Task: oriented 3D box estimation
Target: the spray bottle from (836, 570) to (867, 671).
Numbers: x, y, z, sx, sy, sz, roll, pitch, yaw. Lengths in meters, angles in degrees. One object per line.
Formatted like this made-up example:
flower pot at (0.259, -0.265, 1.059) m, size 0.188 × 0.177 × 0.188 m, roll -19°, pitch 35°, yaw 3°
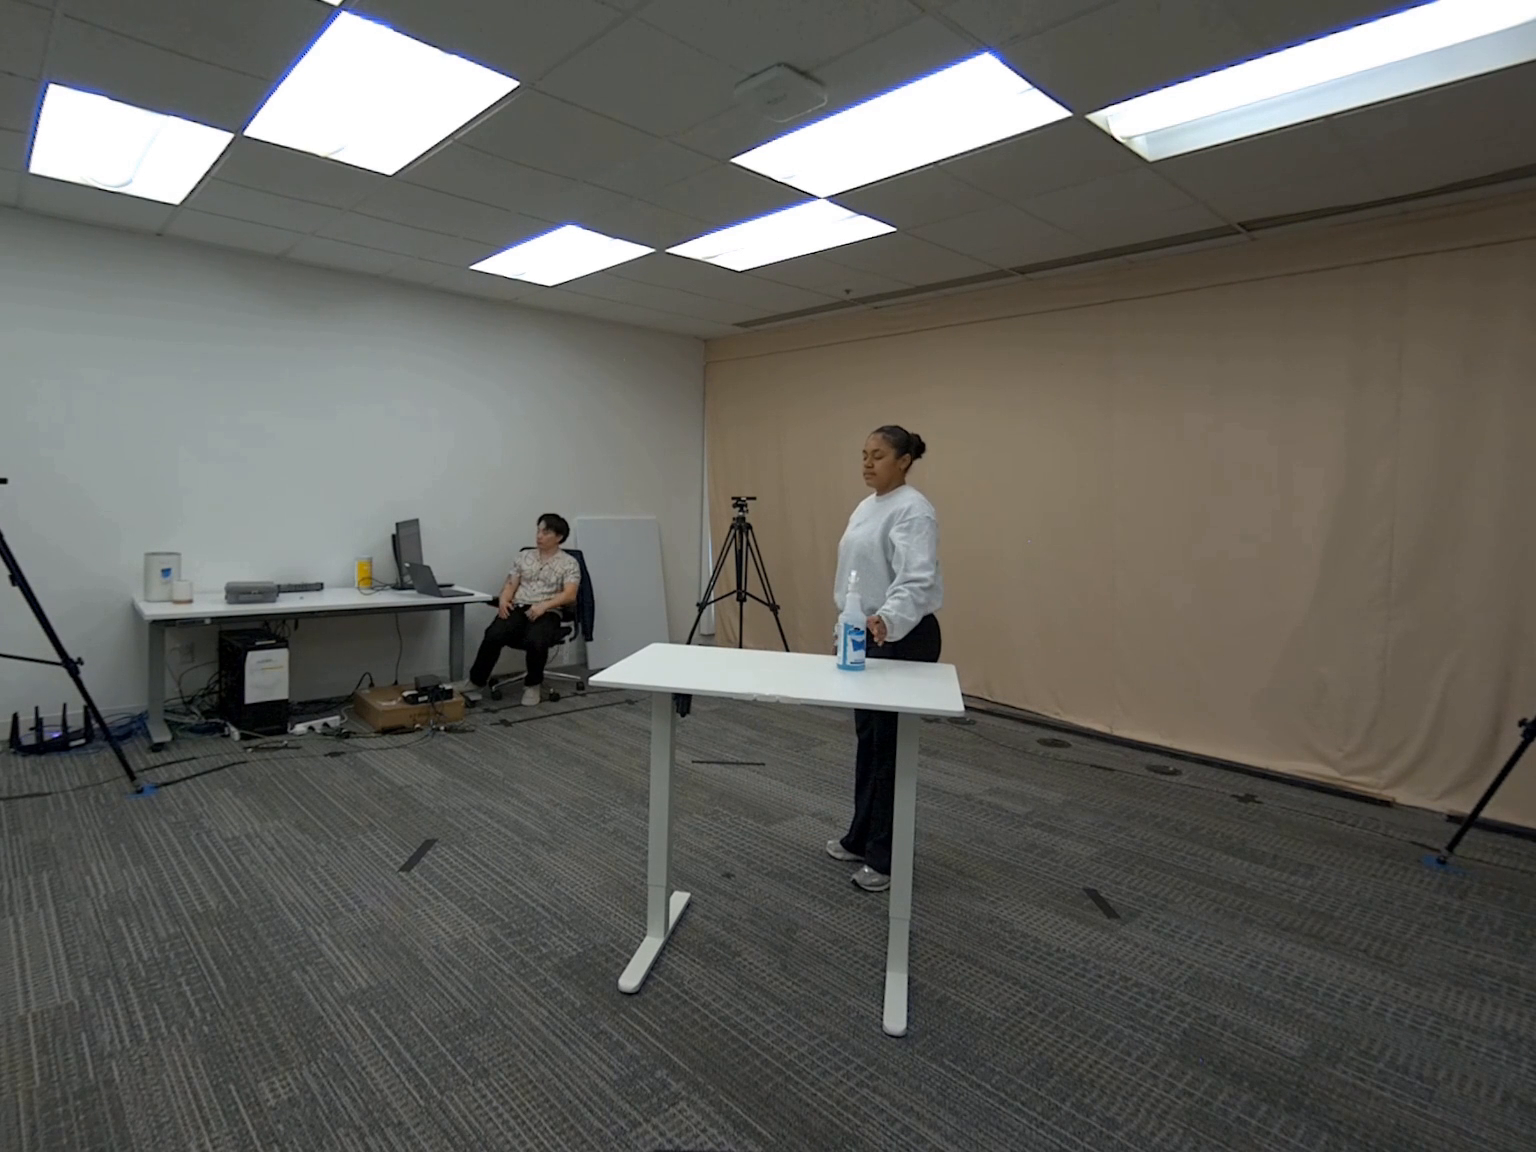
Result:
spray bottle at (0.255, 0.139, 2.566) m, size 0.089 × 0.297 × 0.088 m, roll 4°, pitch 3°, yaw 34°
